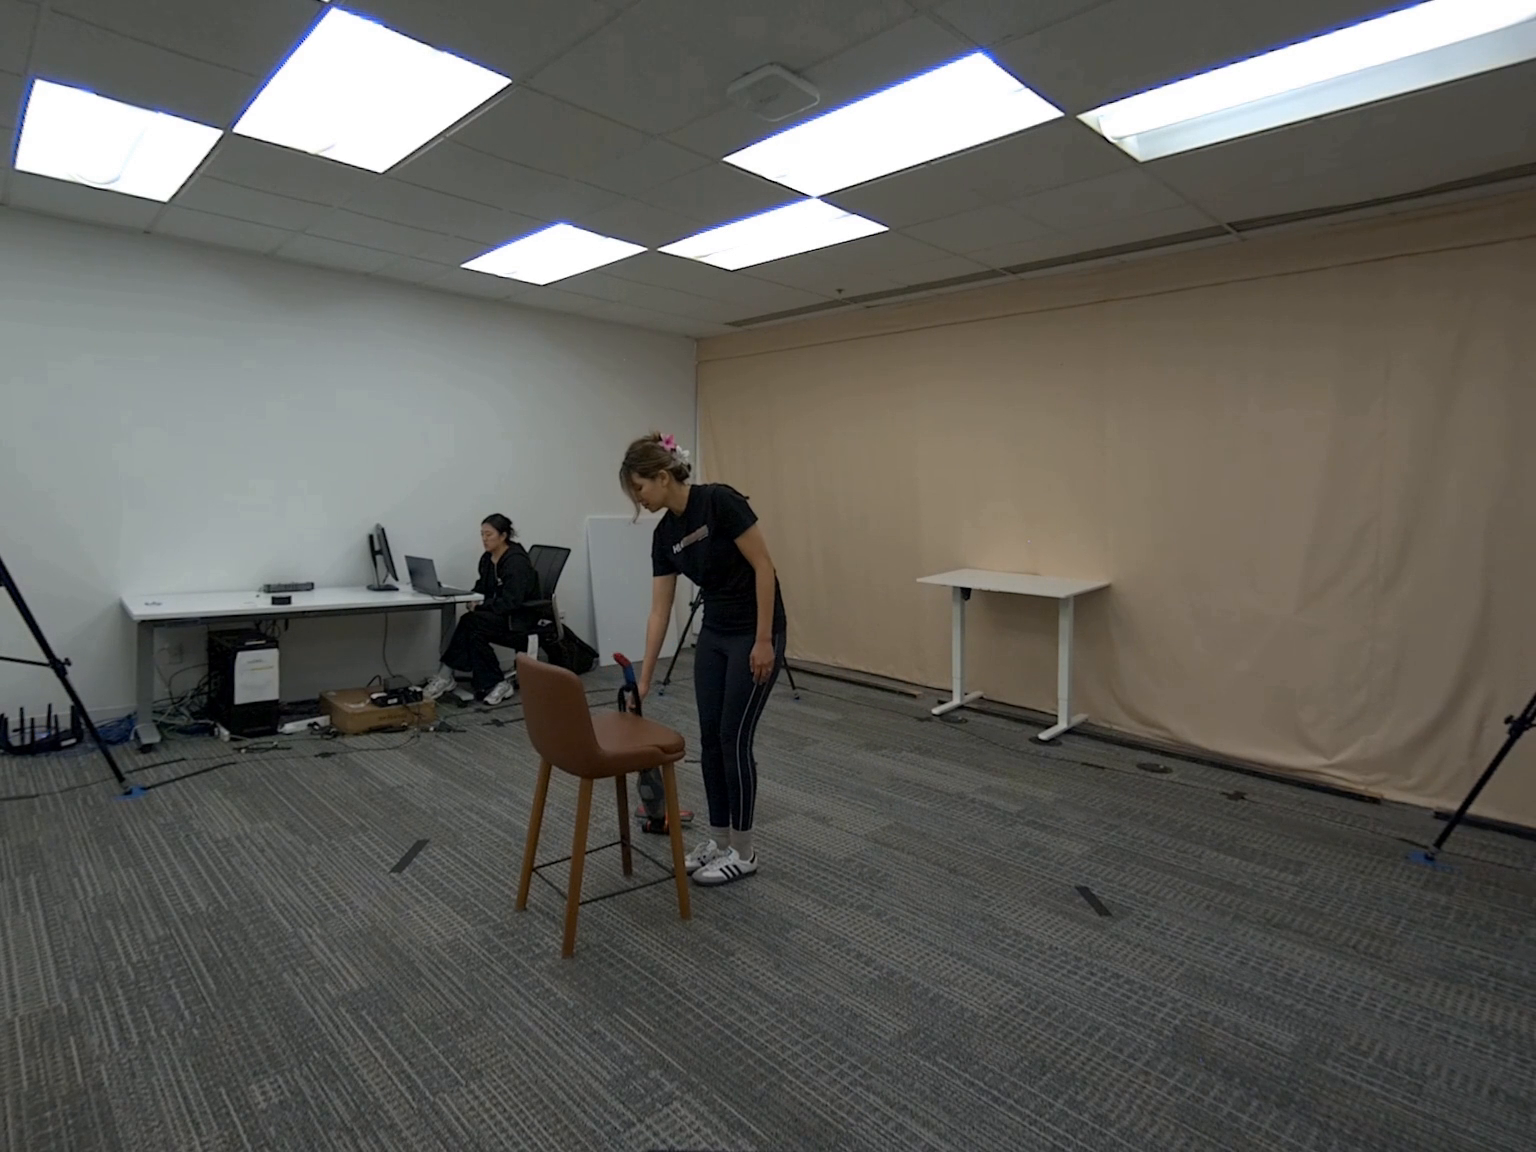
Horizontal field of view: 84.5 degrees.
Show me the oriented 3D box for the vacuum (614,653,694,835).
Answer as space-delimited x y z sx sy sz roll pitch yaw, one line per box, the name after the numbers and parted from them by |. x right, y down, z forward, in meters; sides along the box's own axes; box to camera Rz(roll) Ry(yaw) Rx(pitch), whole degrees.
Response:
-0.491 0.660 3.207 0.255 1.023 0.146 3 42 11 | vacuum
